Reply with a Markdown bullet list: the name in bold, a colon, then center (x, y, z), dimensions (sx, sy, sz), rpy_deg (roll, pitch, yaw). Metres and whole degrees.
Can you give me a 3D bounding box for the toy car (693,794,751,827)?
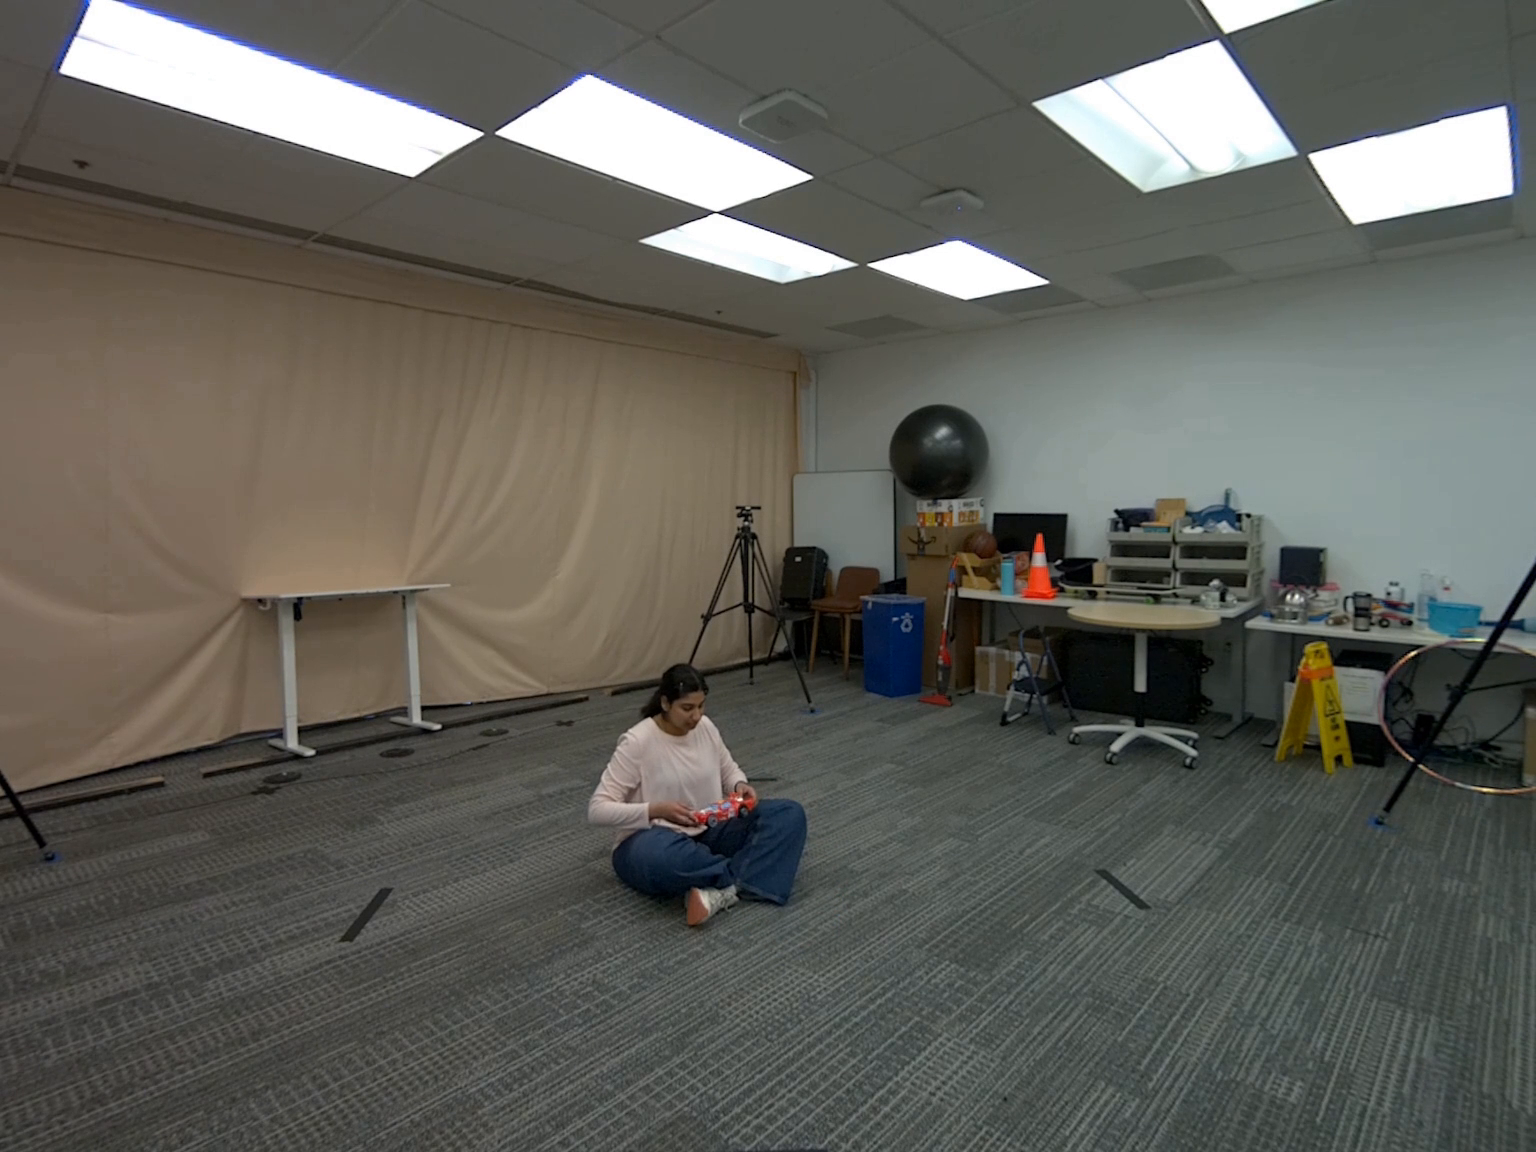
- **toy car**: center (-0.158, 0.847, 3.025), dimensions (0.248, 0.083, 0.133), rpy_deg (-20, 0, -42)
